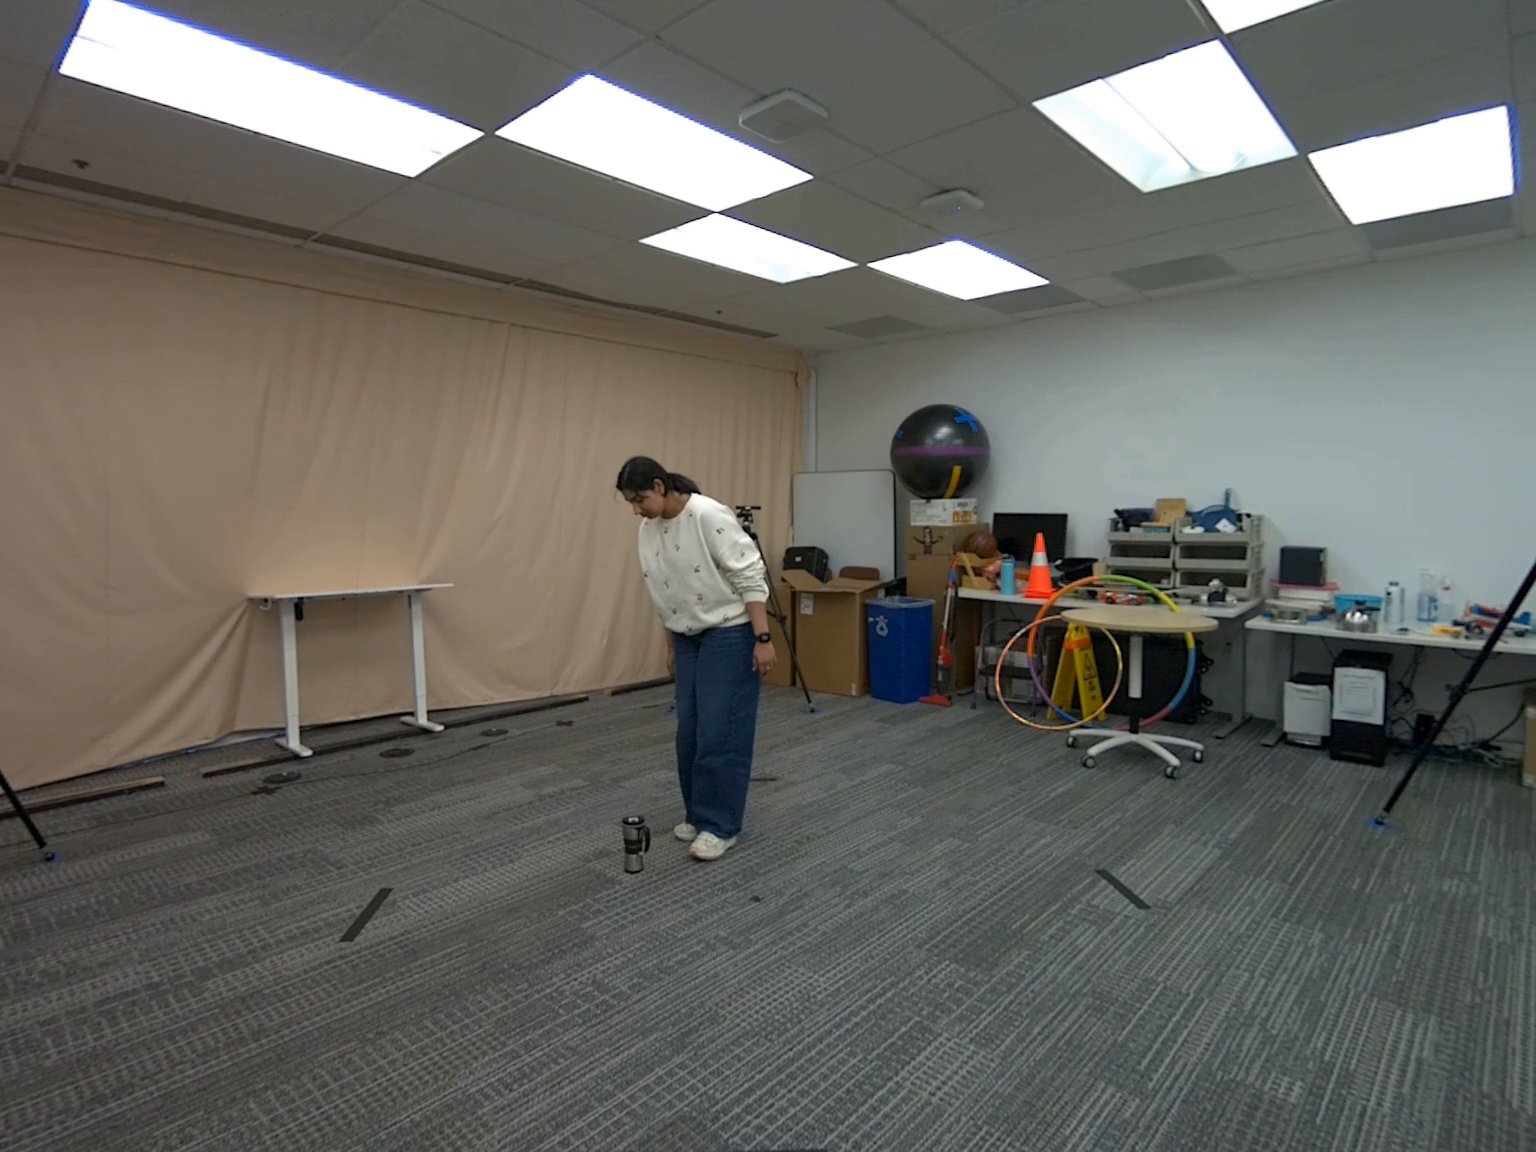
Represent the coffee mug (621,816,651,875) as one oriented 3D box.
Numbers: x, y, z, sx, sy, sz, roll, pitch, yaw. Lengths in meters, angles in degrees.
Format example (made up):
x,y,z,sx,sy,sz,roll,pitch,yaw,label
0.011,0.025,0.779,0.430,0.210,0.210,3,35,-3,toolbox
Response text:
x,y,z,sx,sy,sz,roll,pitch,yaw,label
-0.506,1.029,3.201,0.085,0.203,0.125,2,-1,-32,coffee mug
